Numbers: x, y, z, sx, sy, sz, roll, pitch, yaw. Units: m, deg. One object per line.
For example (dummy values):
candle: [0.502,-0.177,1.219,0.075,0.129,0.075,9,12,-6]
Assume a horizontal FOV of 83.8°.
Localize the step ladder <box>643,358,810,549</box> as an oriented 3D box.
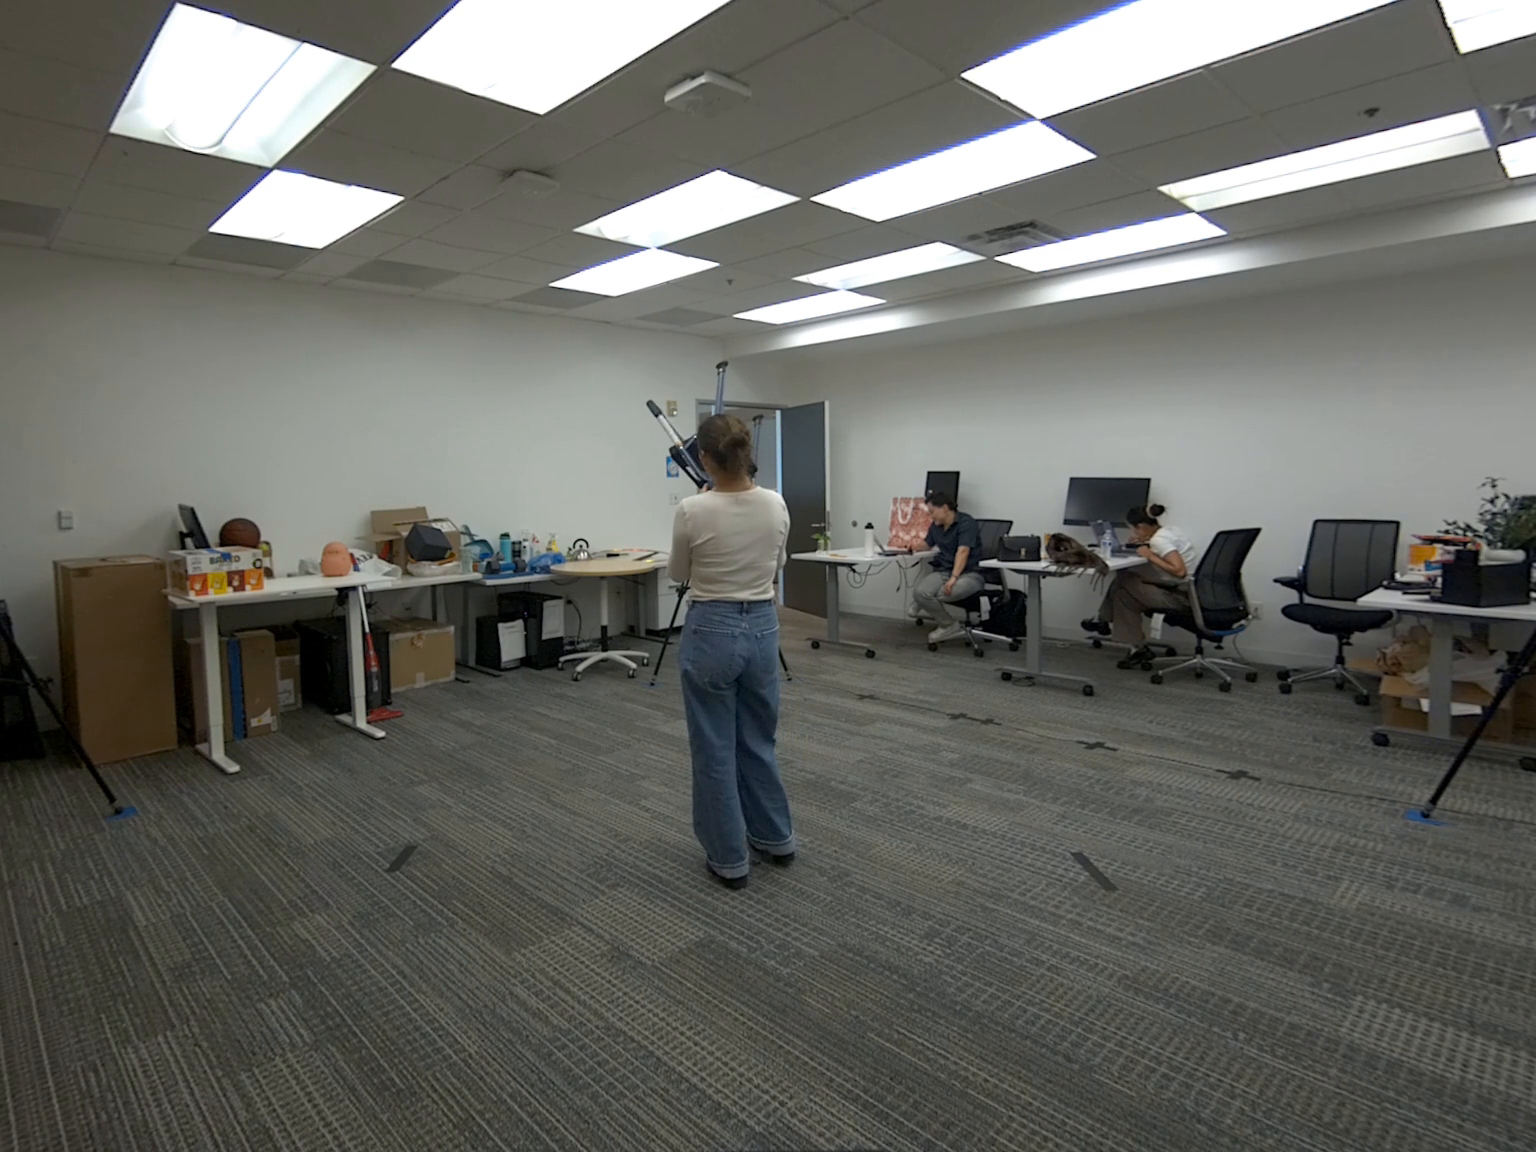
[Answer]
step ladder: [-0.162,-0.407,3.248,0.351,0.624,0.415,-25,-29,12]
